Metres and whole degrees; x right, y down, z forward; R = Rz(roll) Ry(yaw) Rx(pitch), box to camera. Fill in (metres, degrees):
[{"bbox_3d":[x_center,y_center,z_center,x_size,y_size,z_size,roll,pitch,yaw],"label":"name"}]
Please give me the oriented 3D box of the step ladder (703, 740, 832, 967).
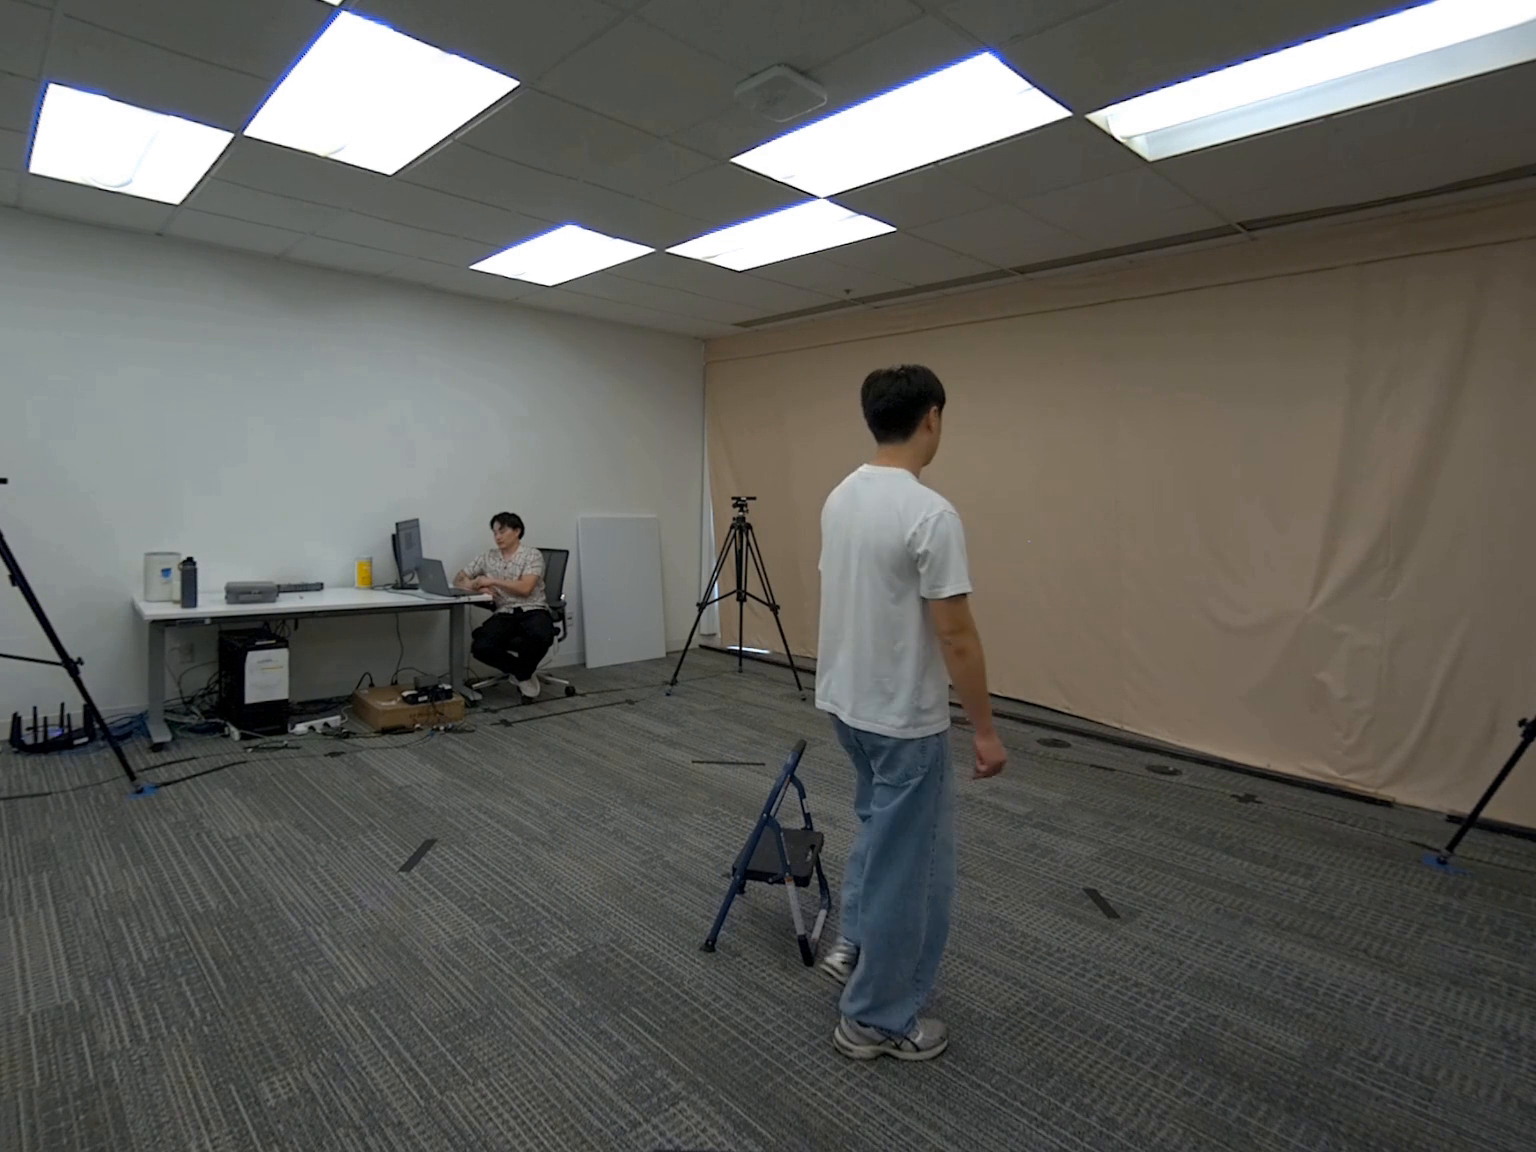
[{"bbox_3d":[0.015,0.842,2.724,0.353,0.604,0.427,2,4,12],"label":"step ladder"}]
